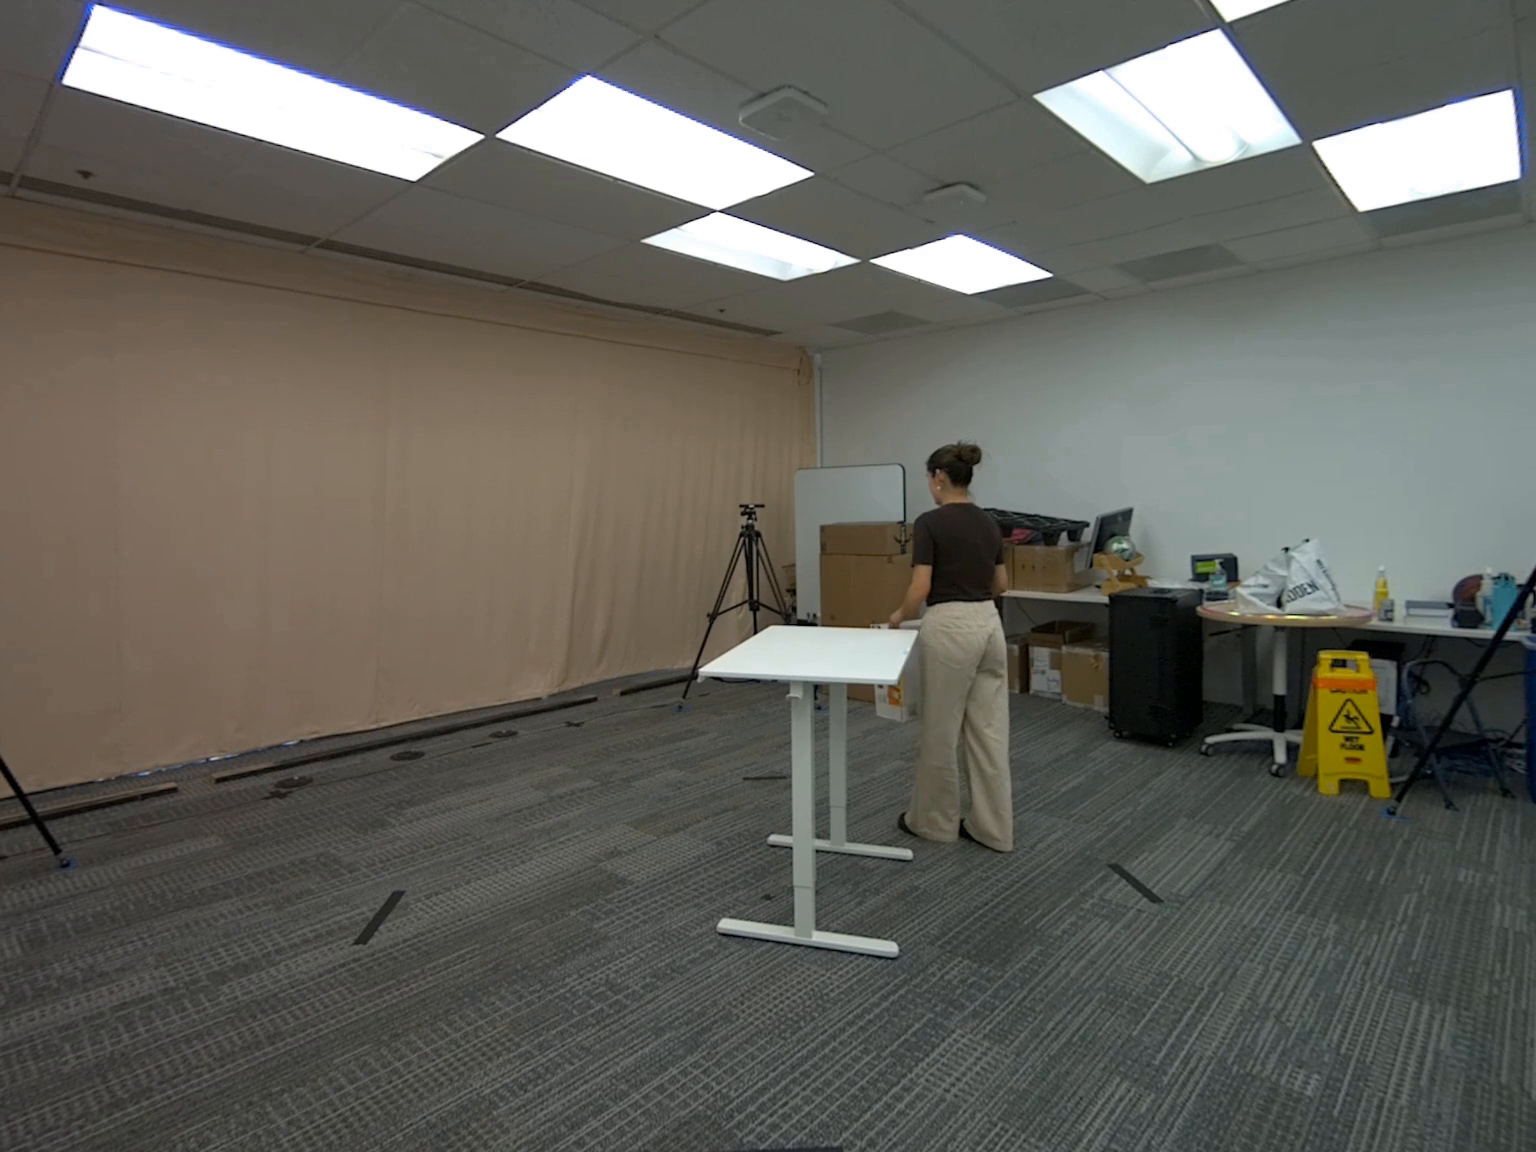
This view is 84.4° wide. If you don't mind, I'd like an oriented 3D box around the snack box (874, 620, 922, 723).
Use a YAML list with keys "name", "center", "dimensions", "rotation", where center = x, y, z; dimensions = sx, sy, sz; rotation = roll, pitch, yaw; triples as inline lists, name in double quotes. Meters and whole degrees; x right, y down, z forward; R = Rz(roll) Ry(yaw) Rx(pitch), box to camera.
- name: "snack box"
  center: [0.670, 0.405, 3.726]
  dimensions: [0.332, 0.405, 0.211]
  rotation: [-4, 0, -27]
